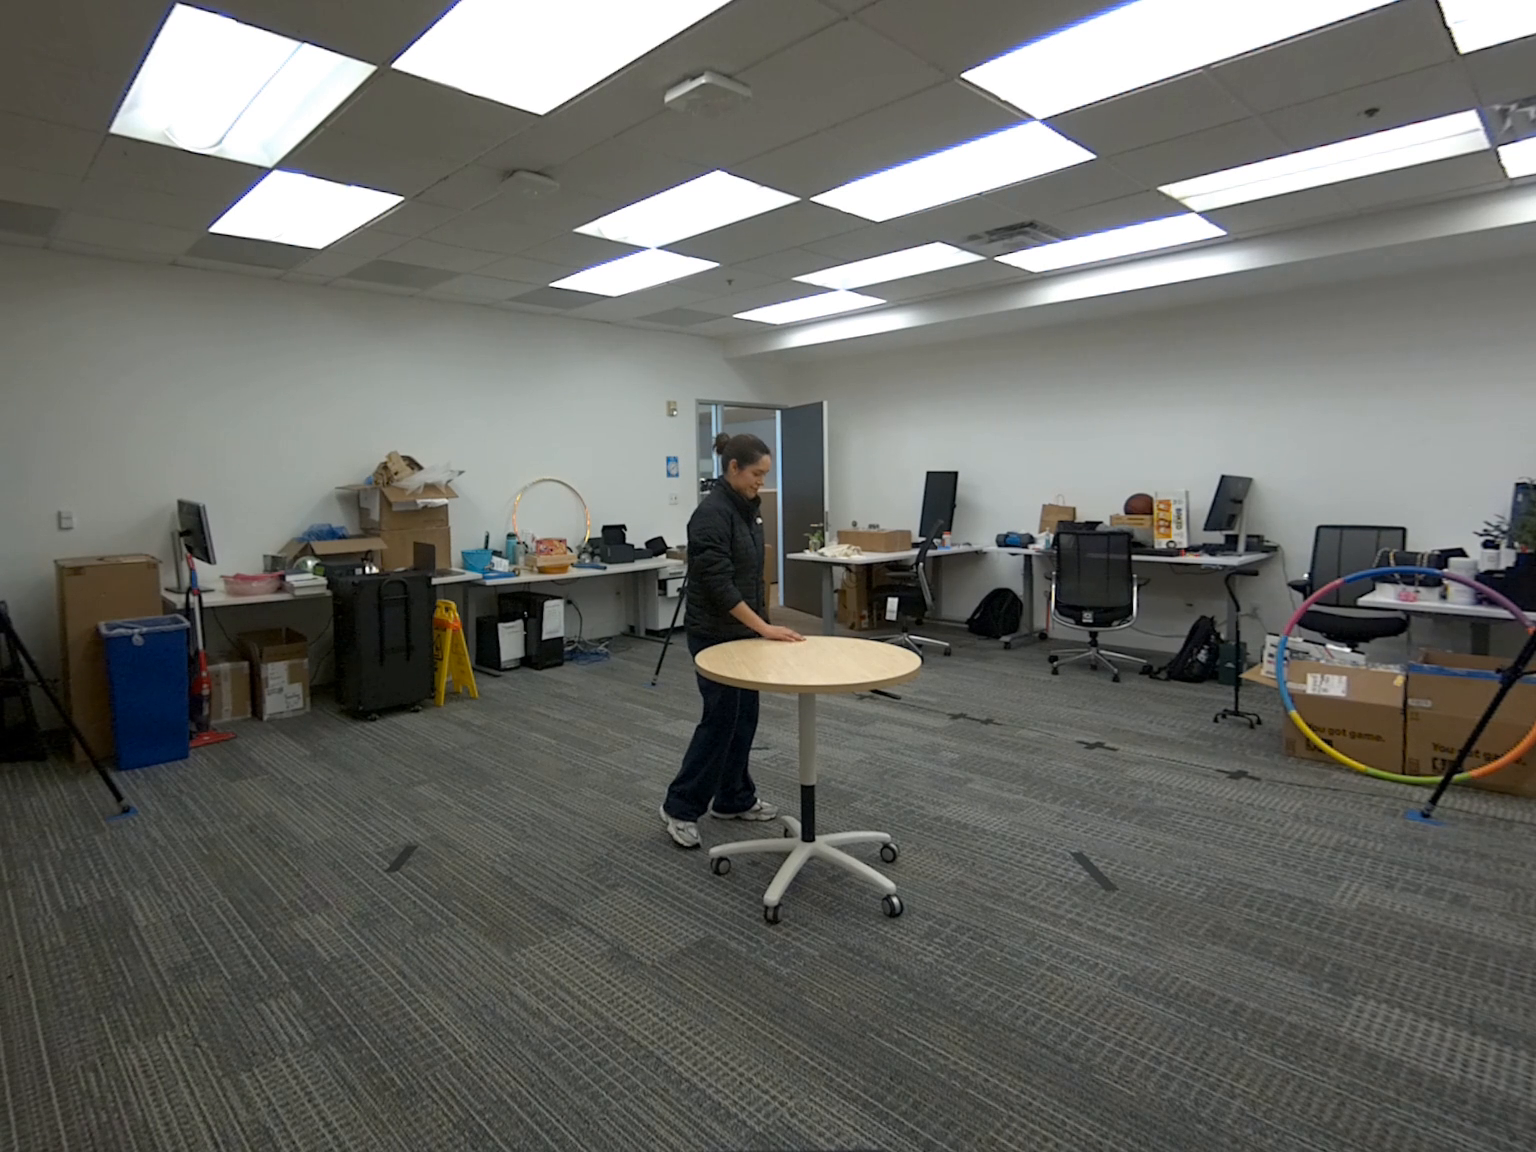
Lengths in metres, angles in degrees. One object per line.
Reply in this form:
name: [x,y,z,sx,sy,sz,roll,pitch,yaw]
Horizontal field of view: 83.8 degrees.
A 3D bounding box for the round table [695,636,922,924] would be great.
round table: [0.129,0.664,2.953,0.784,0.783,0.789,-1,5,-2]
